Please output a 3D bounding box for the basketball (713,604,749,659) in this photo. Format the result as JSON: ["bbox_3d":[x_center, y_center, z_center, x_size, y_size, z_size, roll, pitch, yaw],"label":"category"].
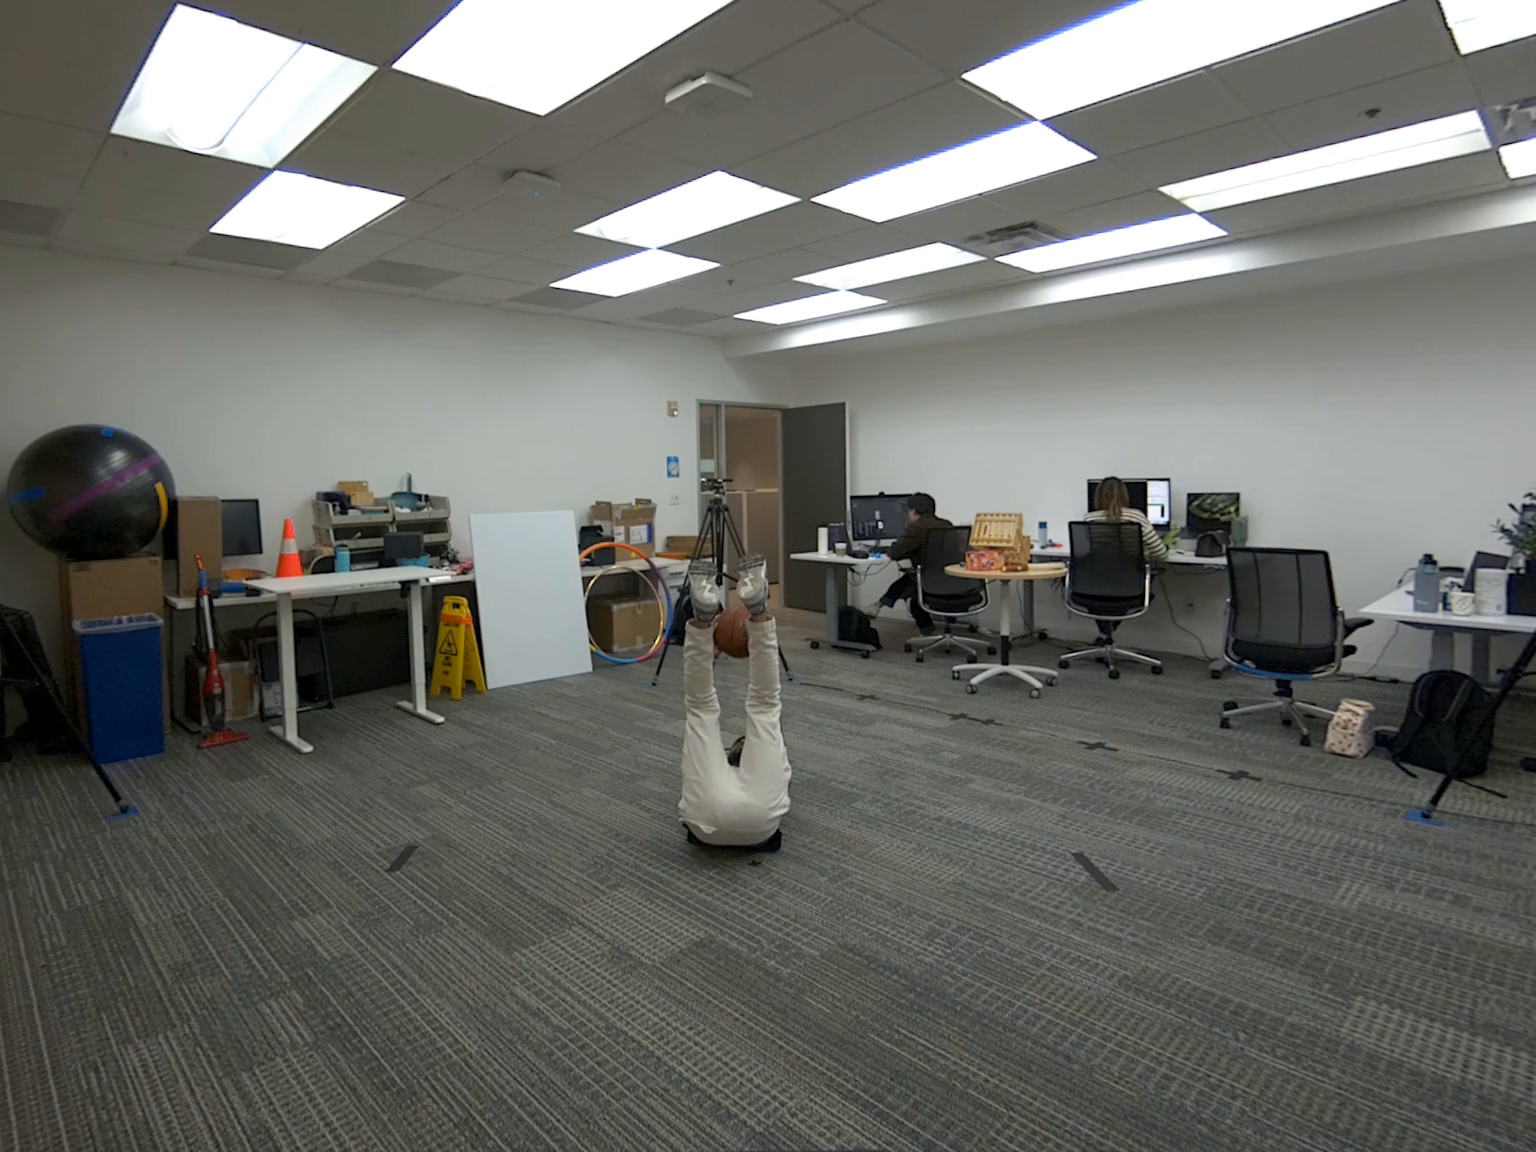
[{"bbox_3d":[-0.120,0.247,3.845,0.236,0.235,0.237,-1,5,-2],"label":"basketball"}]
